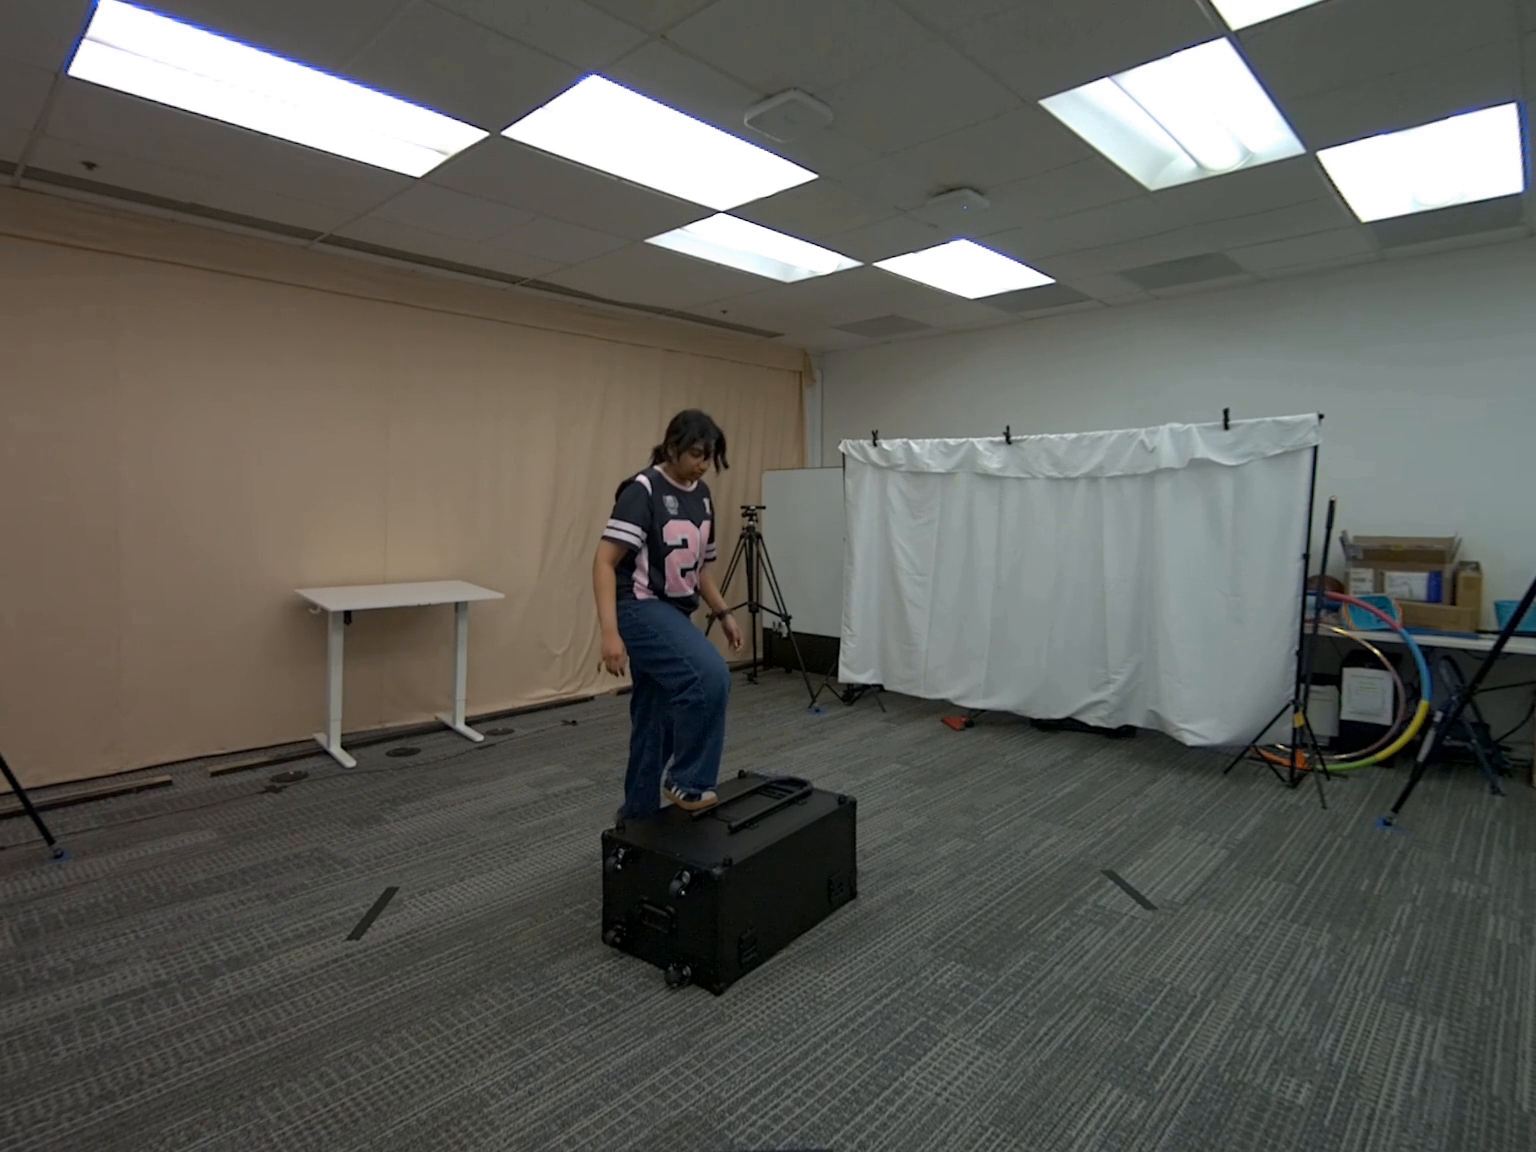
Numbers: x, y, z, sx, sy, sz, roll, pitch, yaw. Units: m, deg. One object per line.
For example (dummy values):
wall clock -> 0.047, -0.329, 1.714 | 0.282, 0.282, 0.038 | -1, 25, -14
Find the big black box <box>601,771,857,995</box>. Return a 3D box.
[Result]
big black box -> -0.117, 0.975, 2.795 | 0.540, 0.384, 0.843 | 5, 7, 37
